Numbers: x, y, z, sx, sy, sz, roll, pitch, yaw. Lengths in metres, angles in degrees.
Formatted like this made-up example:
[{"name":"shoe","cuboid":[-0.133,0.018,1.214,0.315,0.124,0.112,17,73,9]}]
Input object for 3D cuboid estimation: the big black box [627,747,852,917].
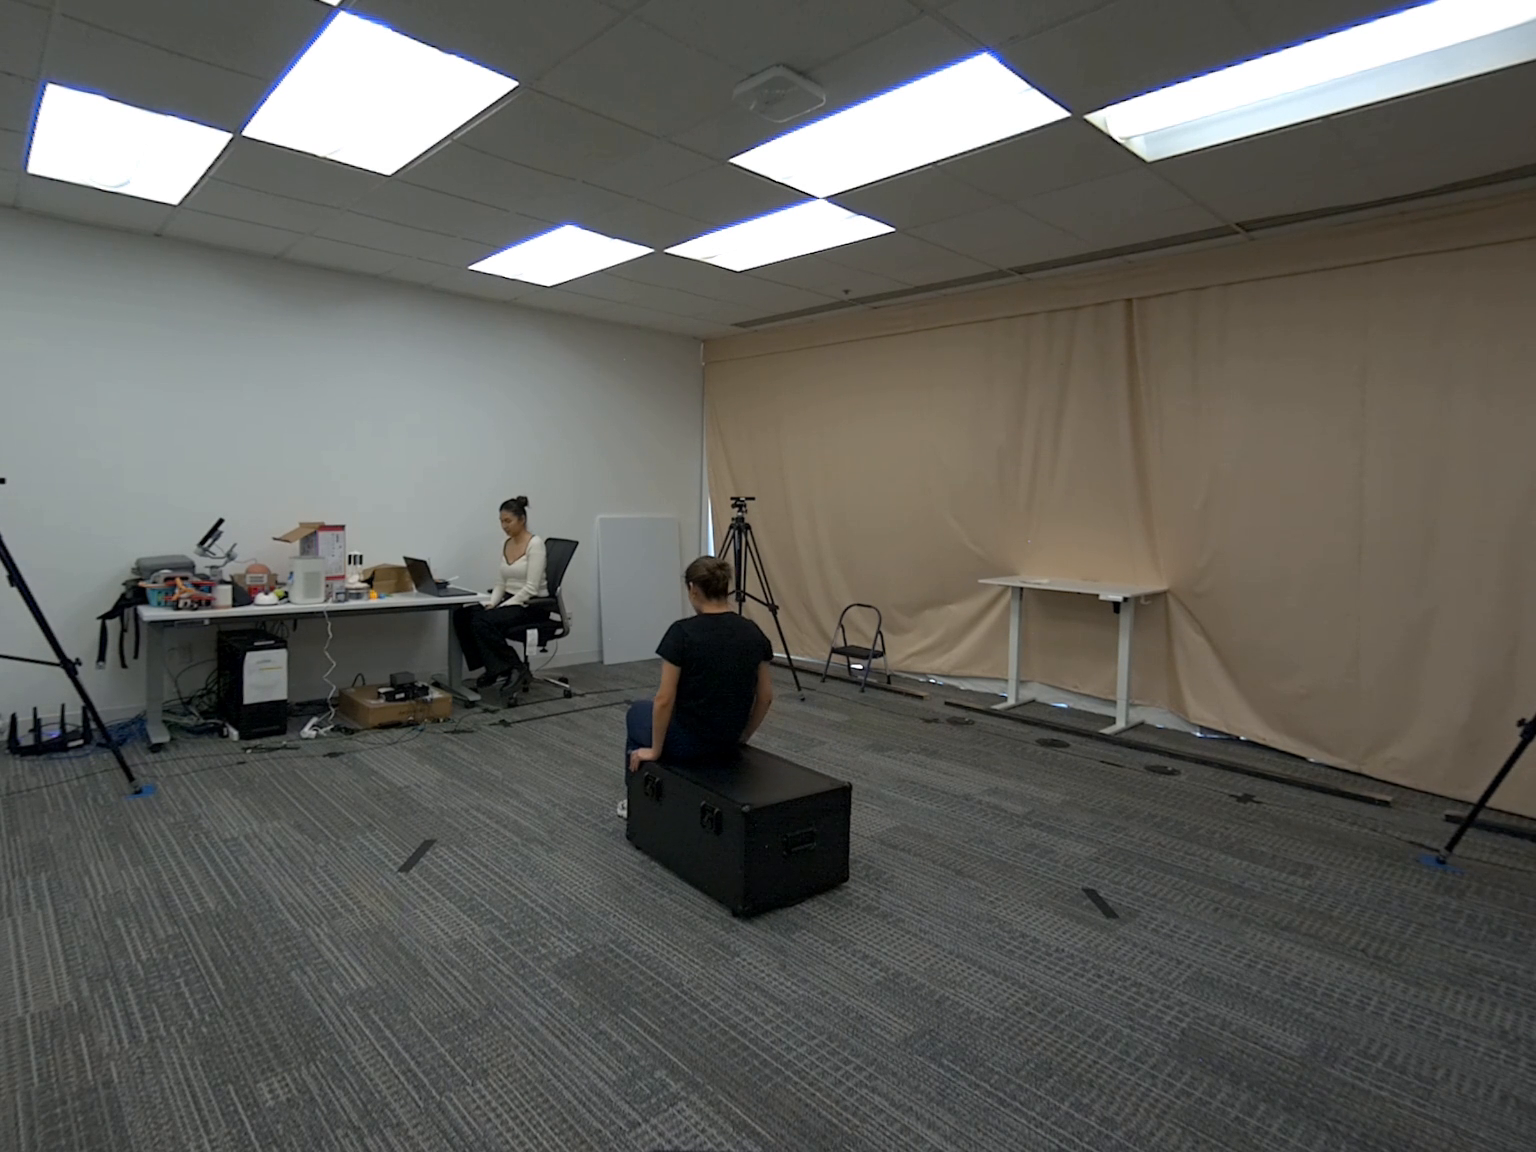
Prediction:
[{"name":"big black box","cuboid":[-0.121,0.916,3.149,0.510,0.395,0.882,-2,5,-38]}]
